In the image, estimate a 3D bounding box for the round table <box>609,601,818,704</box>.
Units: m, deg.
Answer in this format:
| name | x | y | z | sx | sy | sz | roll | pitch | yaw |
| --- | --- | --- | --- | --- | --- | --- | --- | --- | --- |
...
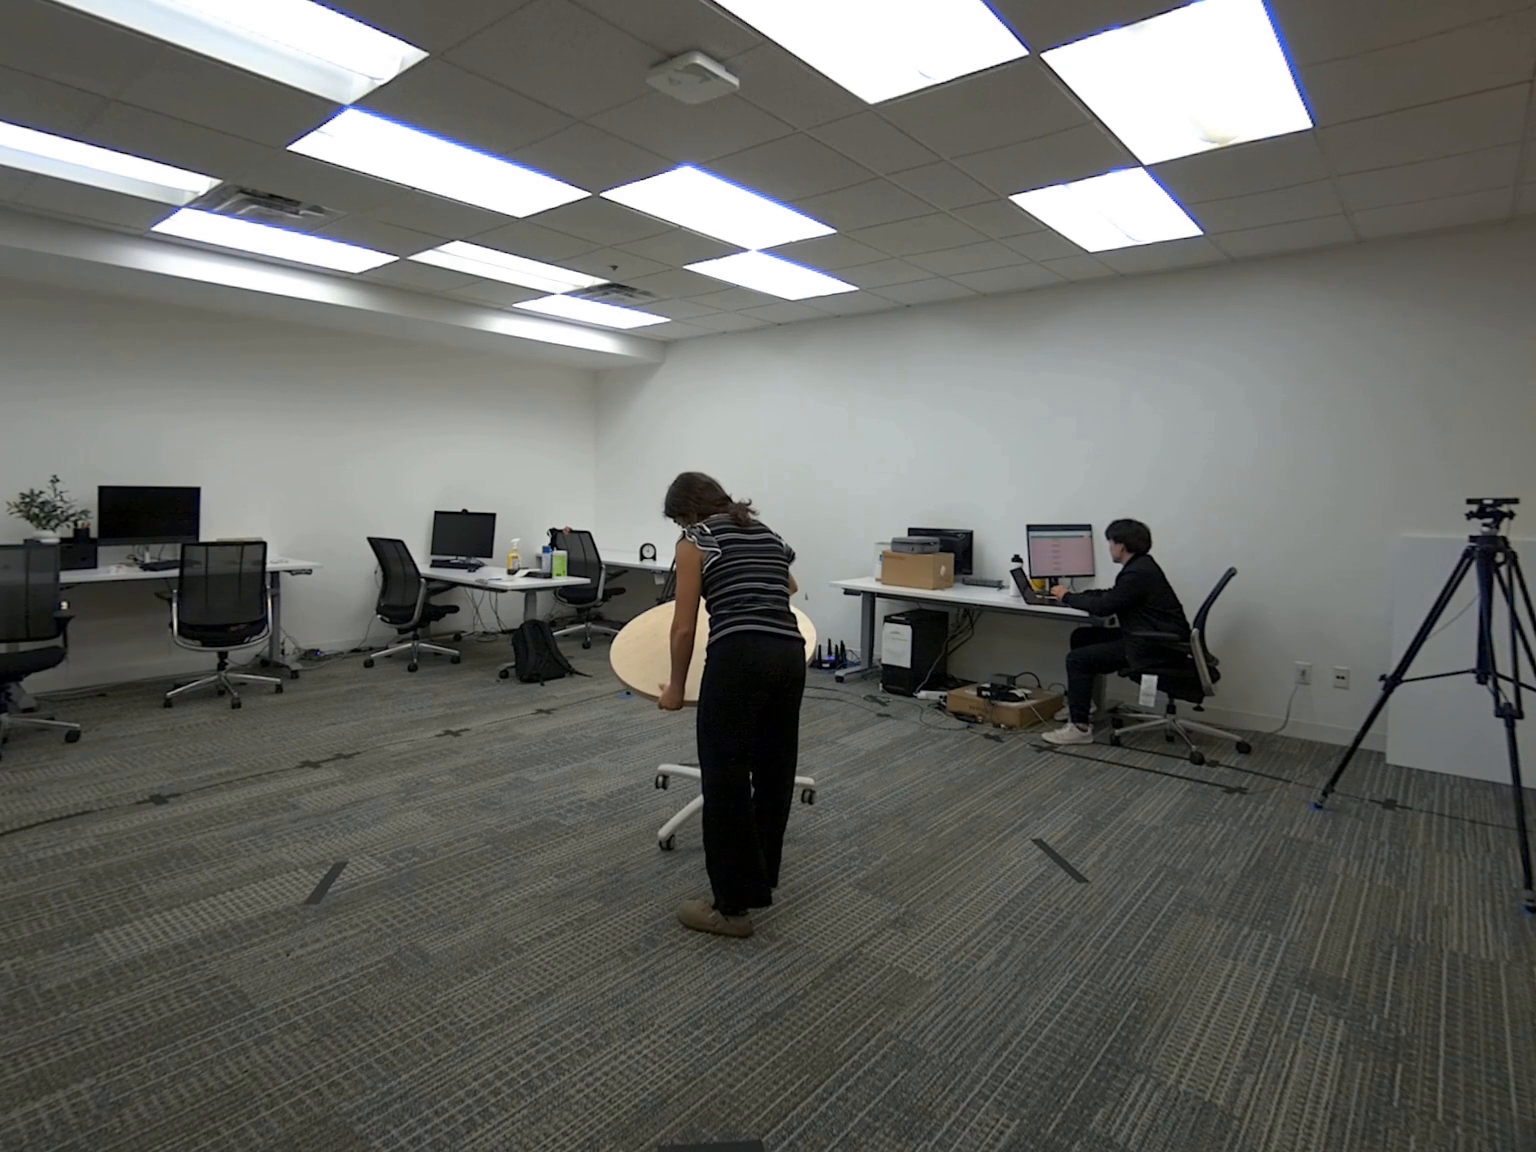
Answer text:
| name | x | y | z | sx | sy | sz | roll | pitch | yaw |
| --- | --- | --- | --- | --- | --- | --- | --- | --- | --- |
| round table | -0.184 | 0.590 | 3.304 | 0.765 | 0.776 | 0.781 | -5 | 24 | 0 |
